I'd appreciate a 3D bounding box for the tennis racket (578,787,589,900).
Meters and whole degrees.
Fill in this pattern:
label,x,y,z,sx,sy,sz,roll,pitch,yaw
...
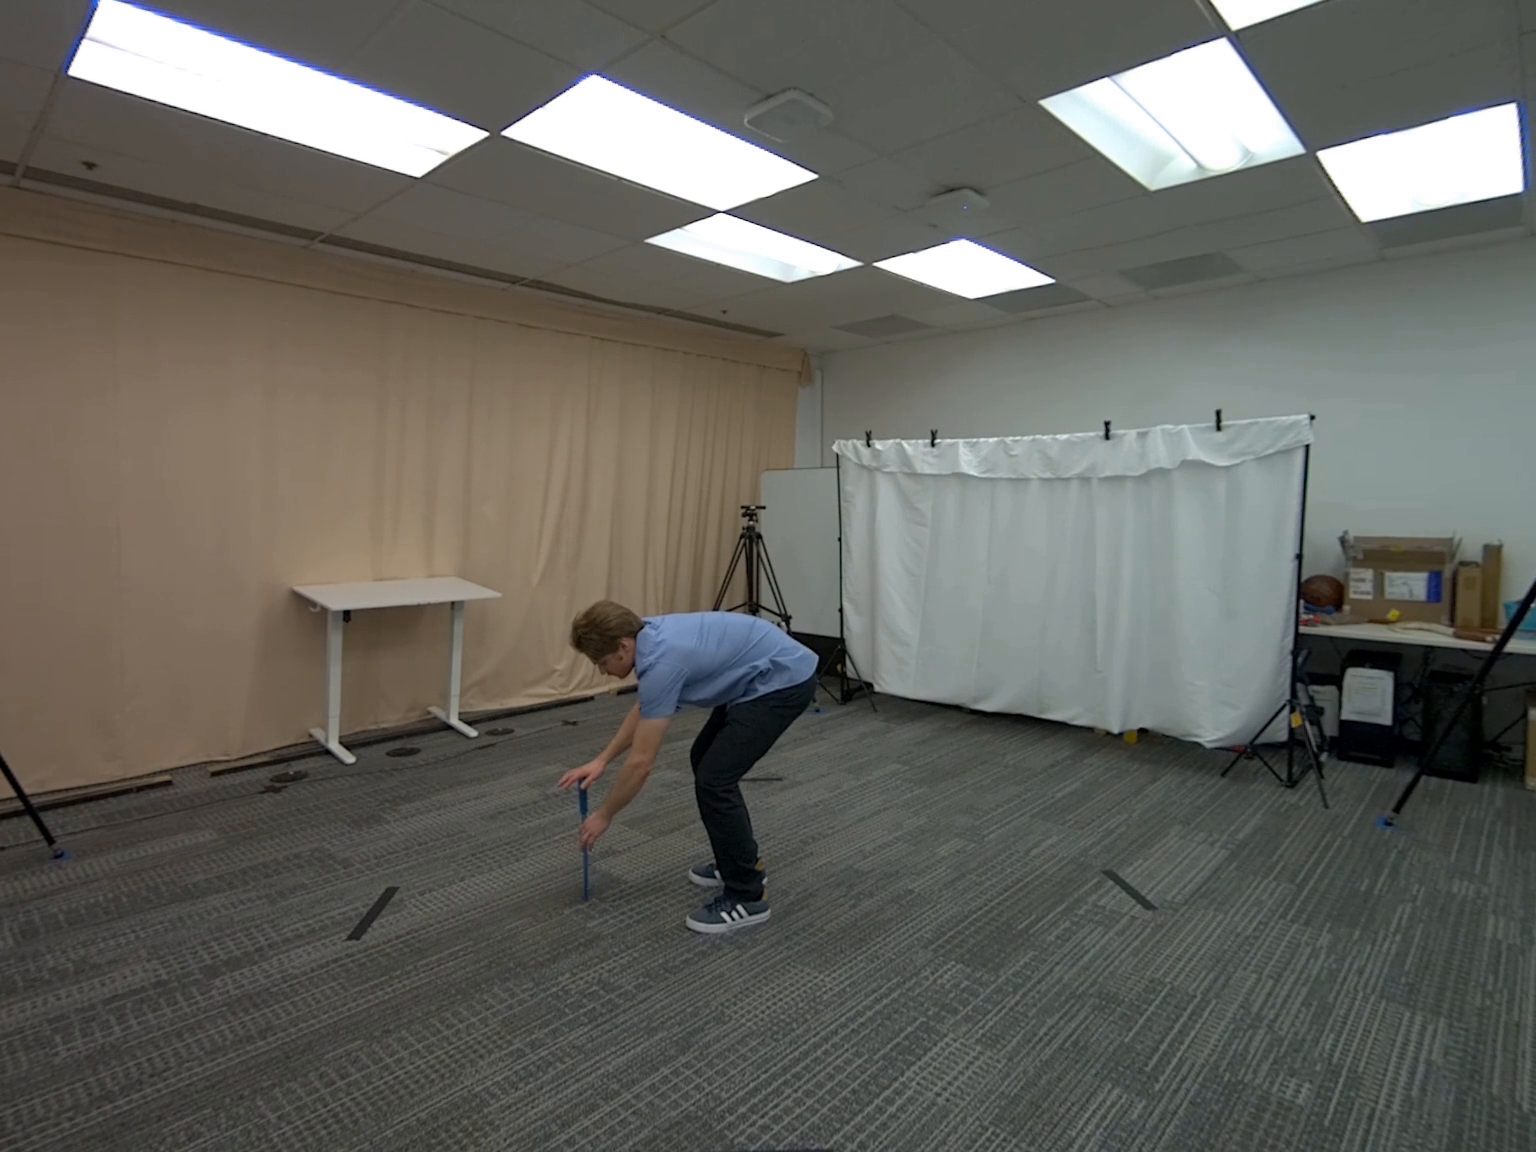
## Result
label,x,y,z,sx,sy,sz,roll,pitch,yaw
tennis racket,-0.647,0.935,3.003,0.032,0.432,0.215,-4,3,-4
